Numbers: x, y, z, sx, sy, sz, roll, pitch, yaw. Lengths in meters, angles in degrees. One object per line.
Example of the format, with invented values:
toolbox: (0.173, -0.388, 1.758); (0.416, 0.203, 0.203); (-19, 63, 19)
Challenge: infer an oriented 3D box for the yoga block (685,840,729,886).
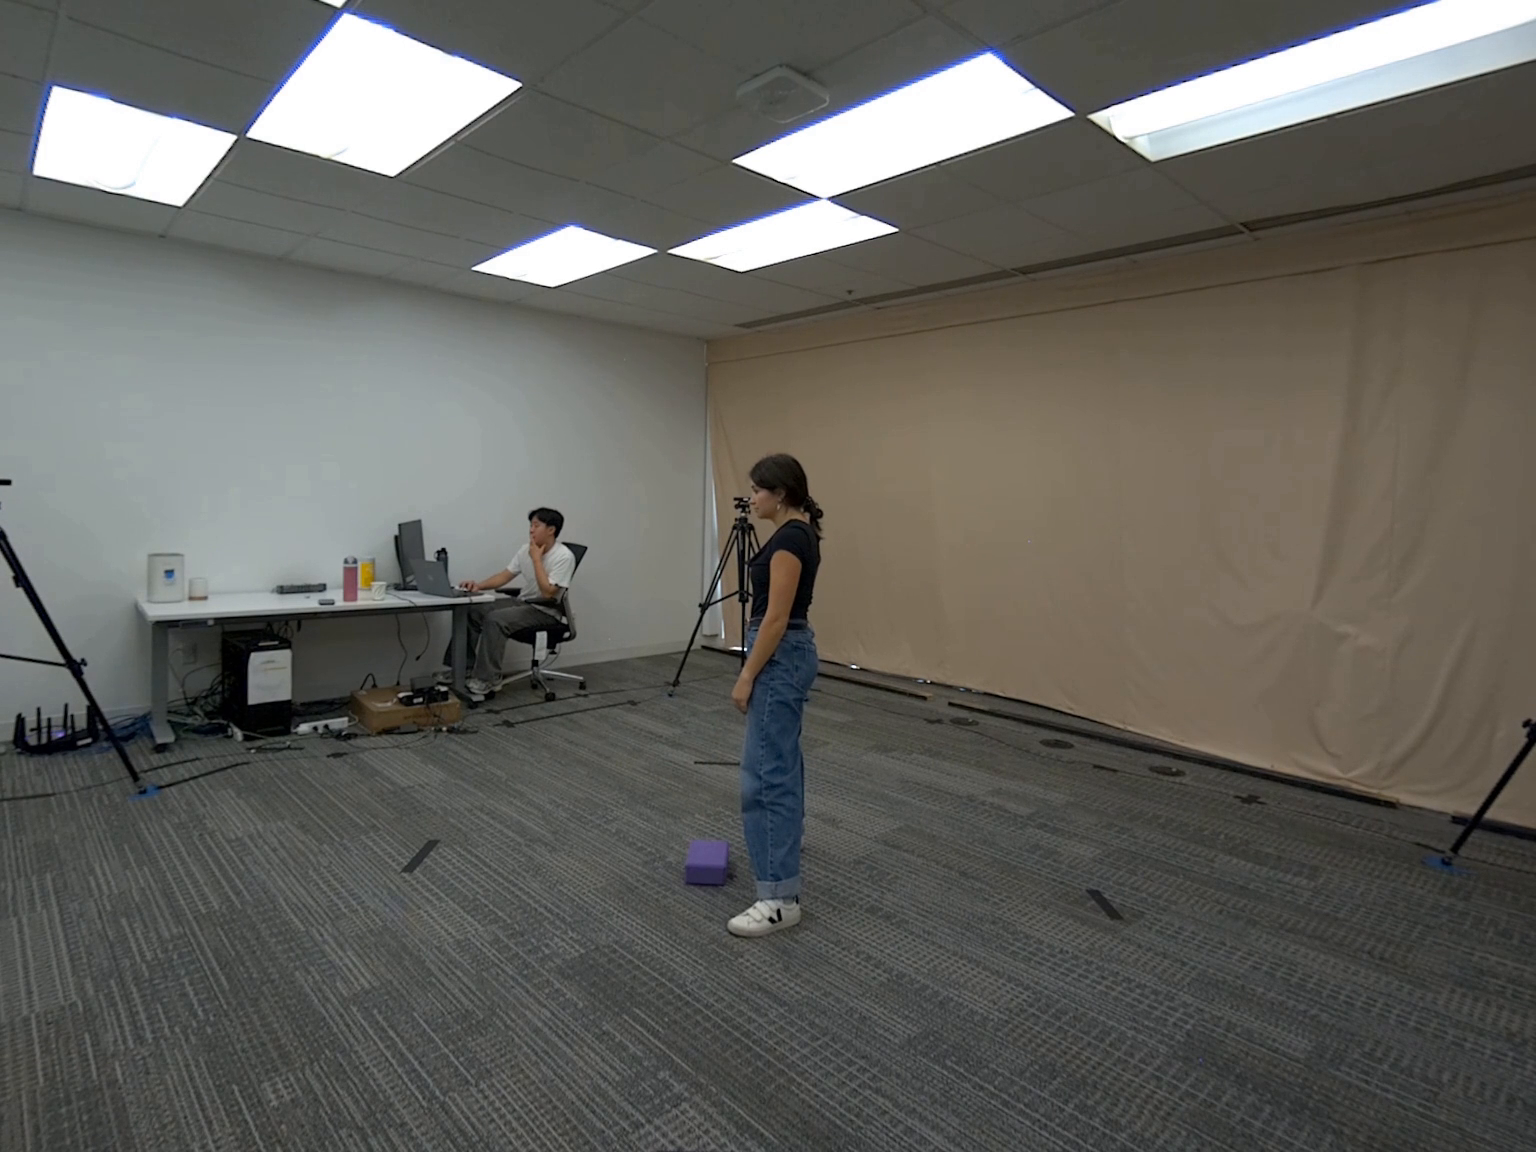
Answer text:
yoga block: (-0.232, 1.067, 3.126); (0.149, 0.076, 0.229); (1, 4, 2)
